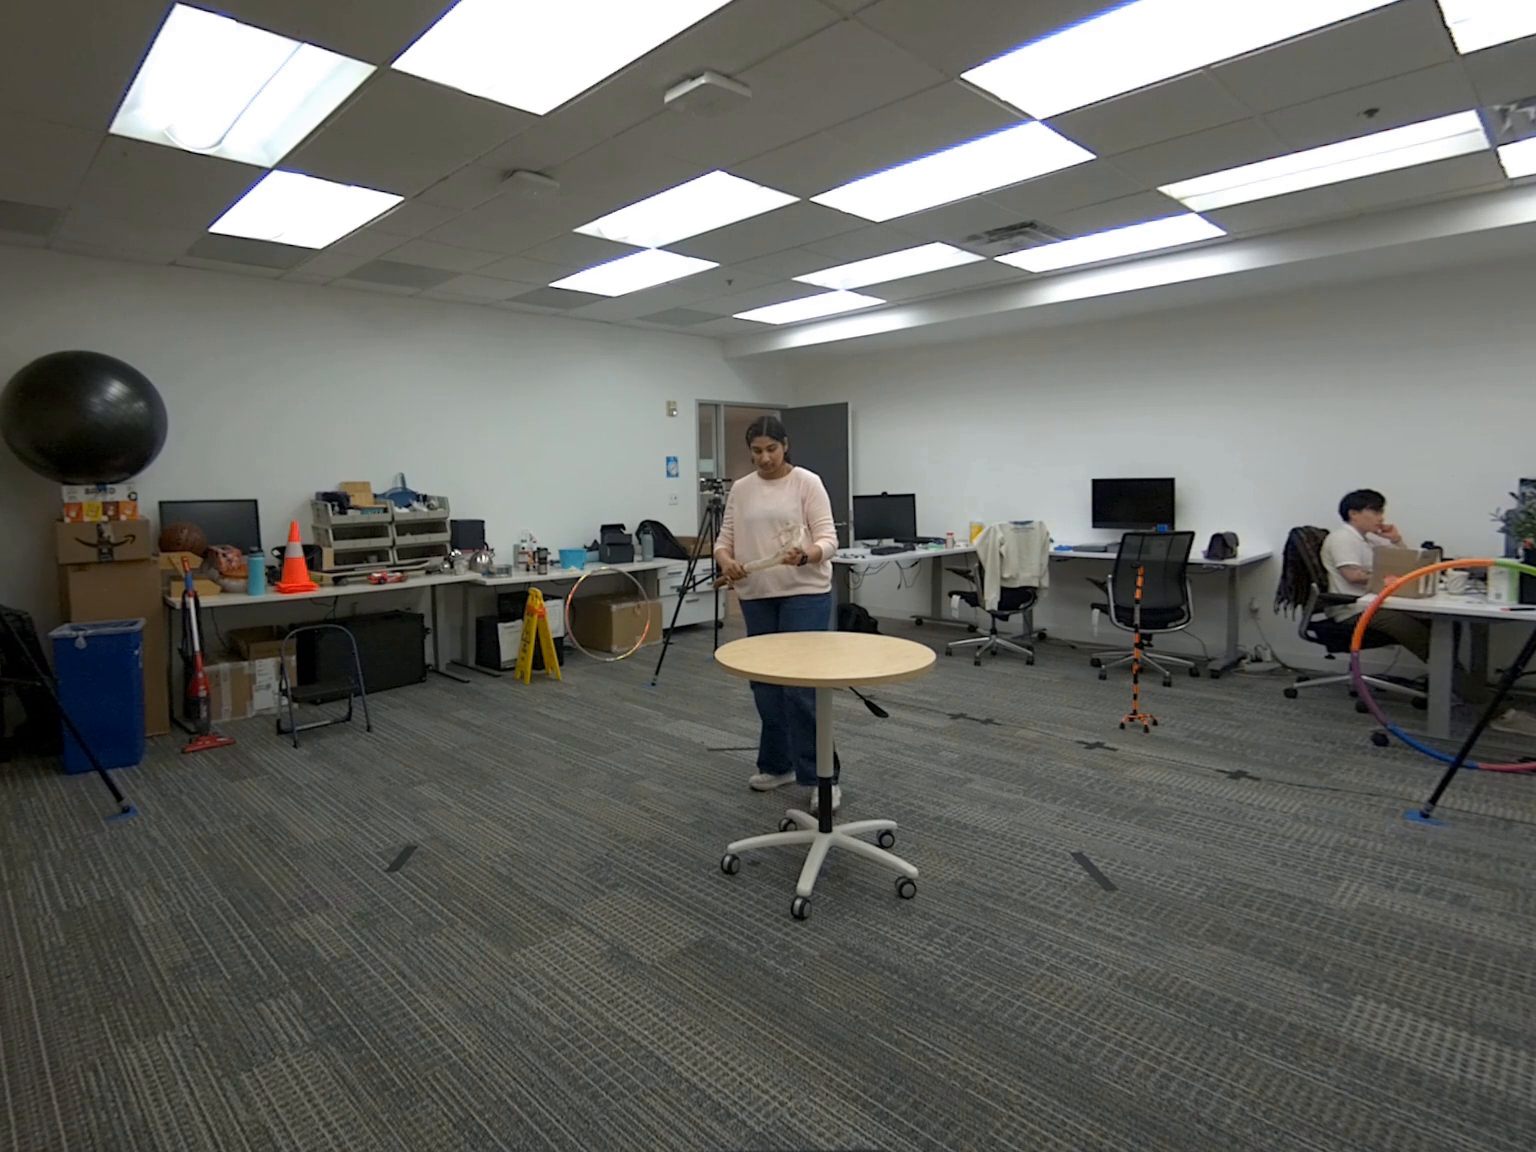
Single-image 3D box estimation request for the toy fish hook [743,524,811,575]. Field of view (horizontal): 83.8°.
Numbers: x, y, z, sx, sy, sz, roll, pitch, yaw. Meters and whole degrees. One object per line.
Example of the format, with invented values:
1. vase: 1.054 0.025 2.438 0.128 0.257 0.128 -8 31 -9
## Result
1. toy fish hook: -0.040 -0.075 3.600 0.513 0.047 0.227 -27 25 35
